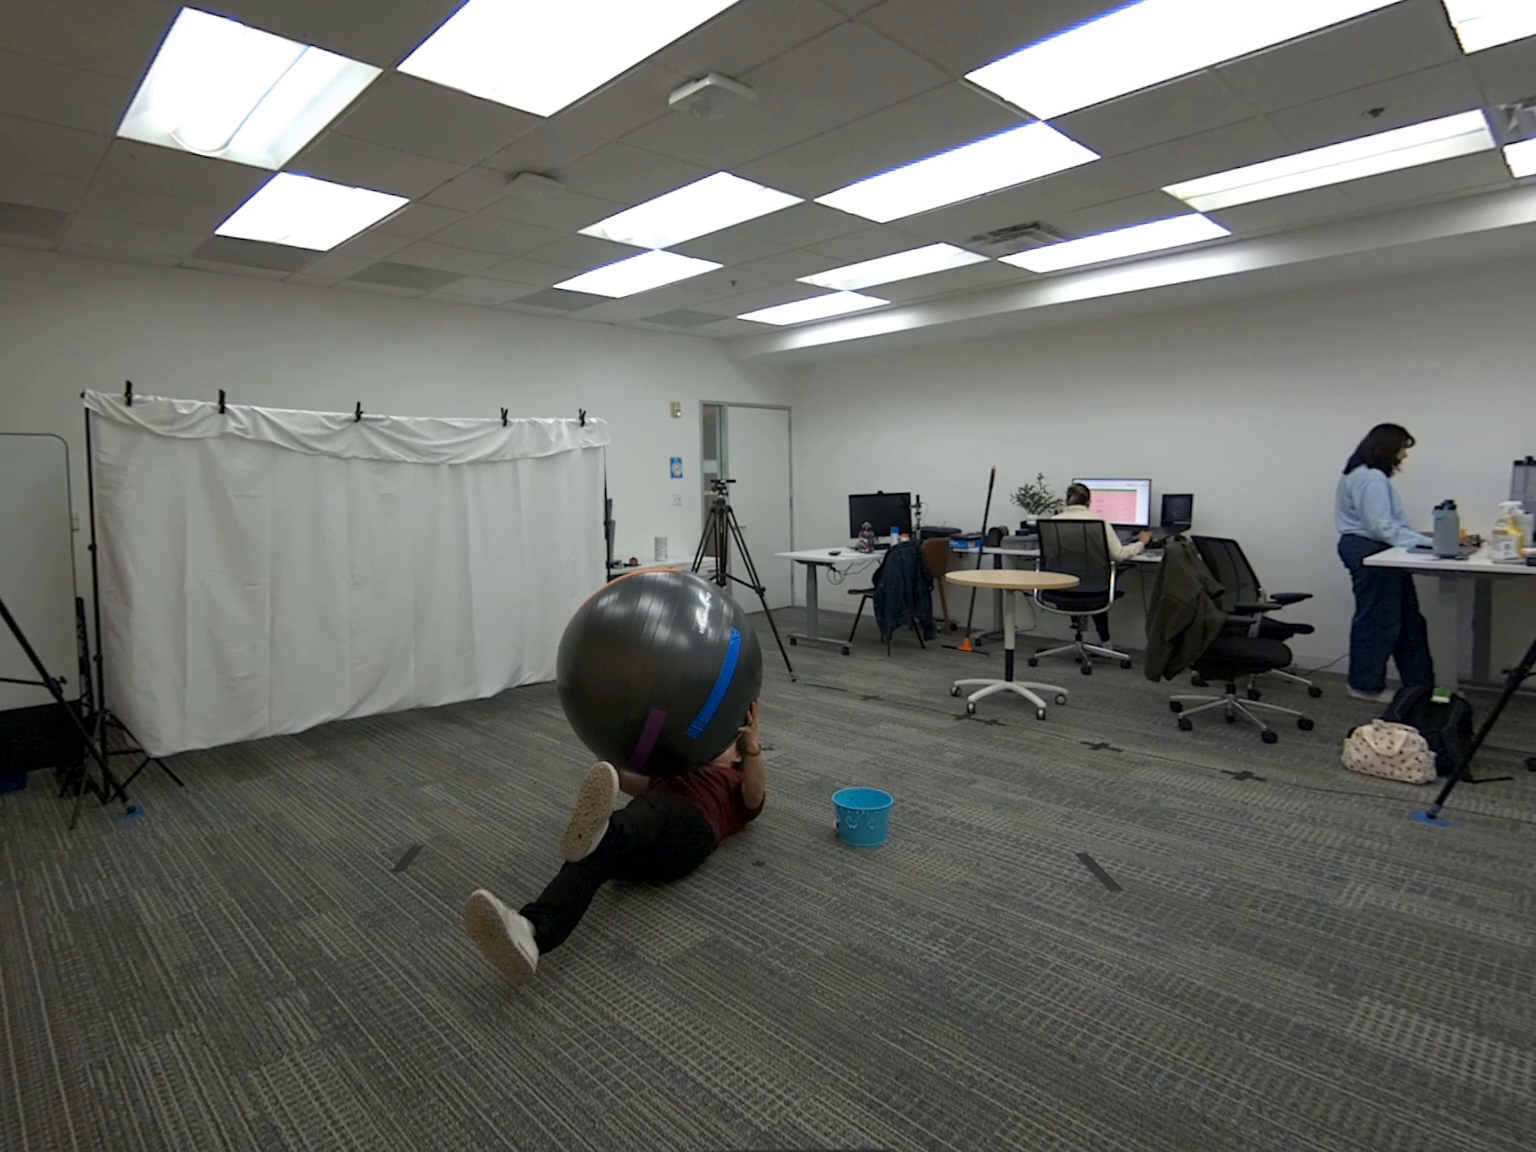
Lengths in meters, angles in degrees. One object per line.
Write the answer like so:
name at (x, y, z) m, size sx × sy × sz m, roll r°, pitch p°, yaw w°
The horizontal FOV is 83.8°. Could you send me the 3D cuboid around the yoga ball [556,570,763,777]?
yoga ball at (-0.404, 0.352, 3.171) m, size 0.757 × 0.755 × 0.762 m, roll -1°, pitch 5°, yaw -2°
